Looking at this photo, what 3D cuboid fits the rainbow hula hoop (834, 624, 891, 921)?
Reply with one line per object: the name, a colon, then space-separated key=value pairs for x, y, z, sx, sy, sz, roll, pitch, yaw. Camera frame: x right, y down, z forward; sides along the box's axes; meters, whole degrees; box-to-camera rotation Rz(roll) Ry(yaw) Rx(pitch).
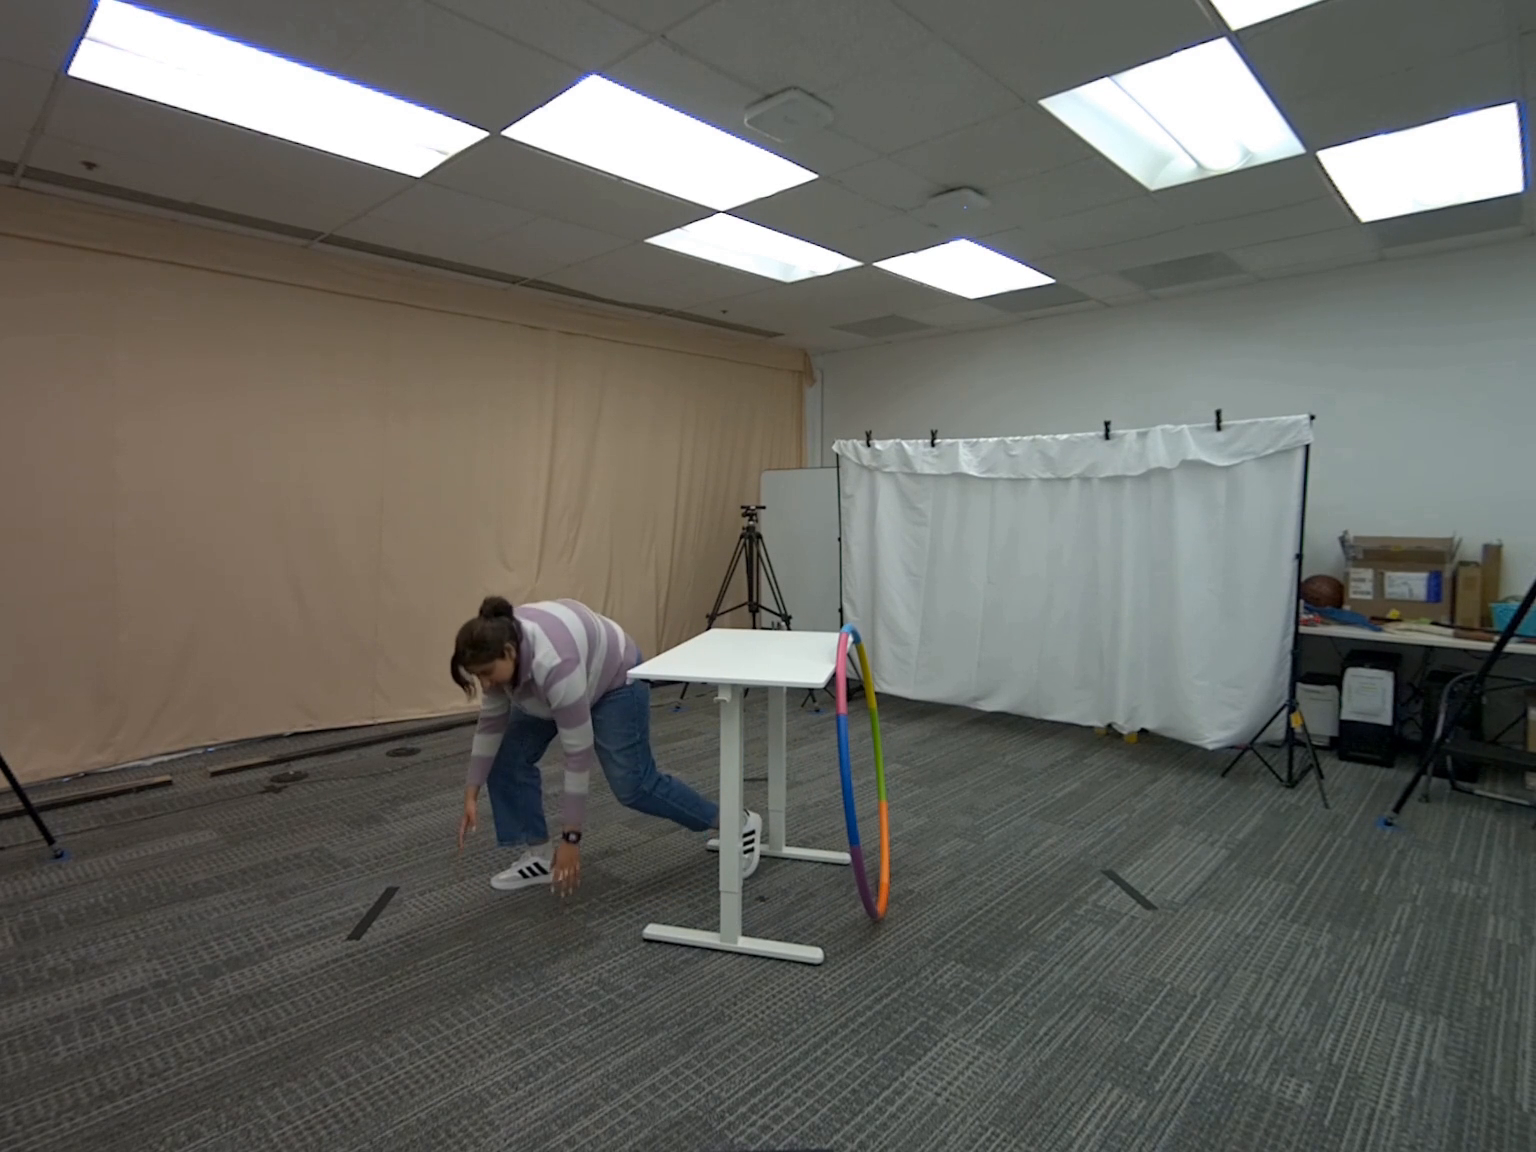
rainbow hula hoop: x=0.341 y=0.663 z=2.922 sx=0.036 sy=0.978 sz=0.966 roll=-7 pitch=2 yaw=12
